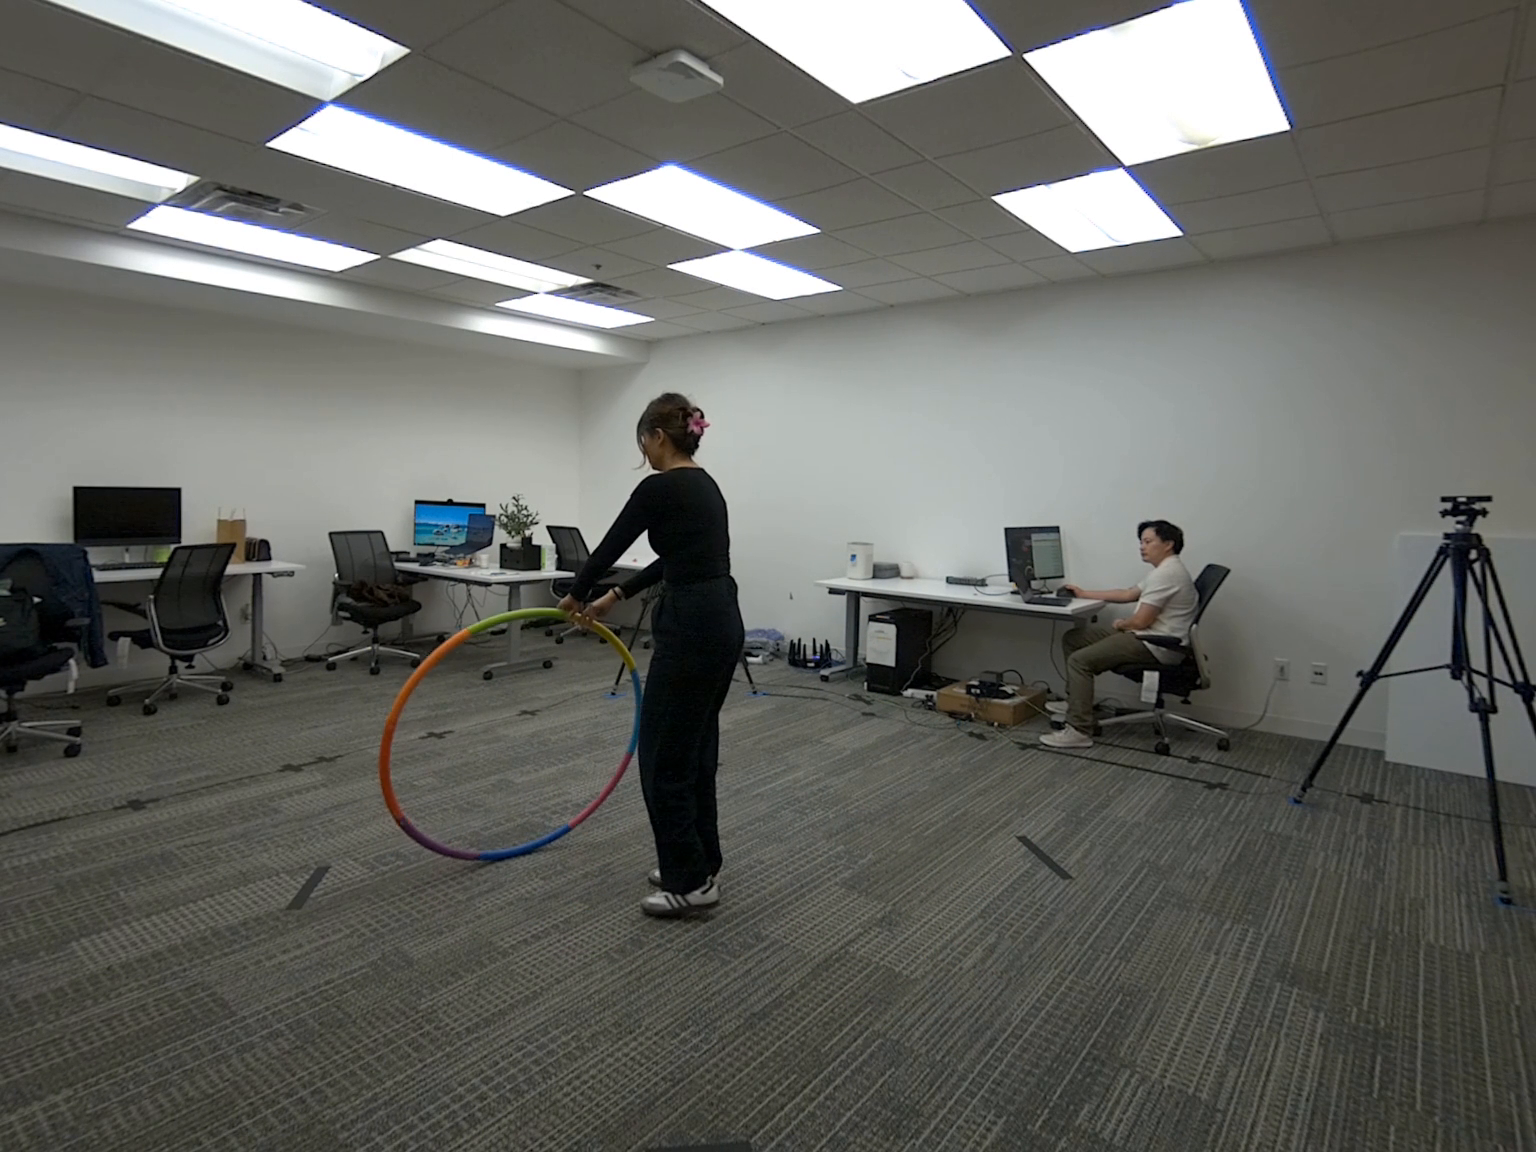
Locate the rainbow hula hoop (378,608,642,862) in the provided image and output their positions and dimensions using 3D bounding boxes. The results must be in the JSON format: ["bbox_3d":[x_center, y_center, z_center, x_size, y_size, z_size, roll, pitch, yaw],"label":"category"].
[{"bbox_3d":[-0.896,0.584,3.087,0.950,0.968,0.037,-2,16,-36],"label":"rainbow hula hoop"}]
